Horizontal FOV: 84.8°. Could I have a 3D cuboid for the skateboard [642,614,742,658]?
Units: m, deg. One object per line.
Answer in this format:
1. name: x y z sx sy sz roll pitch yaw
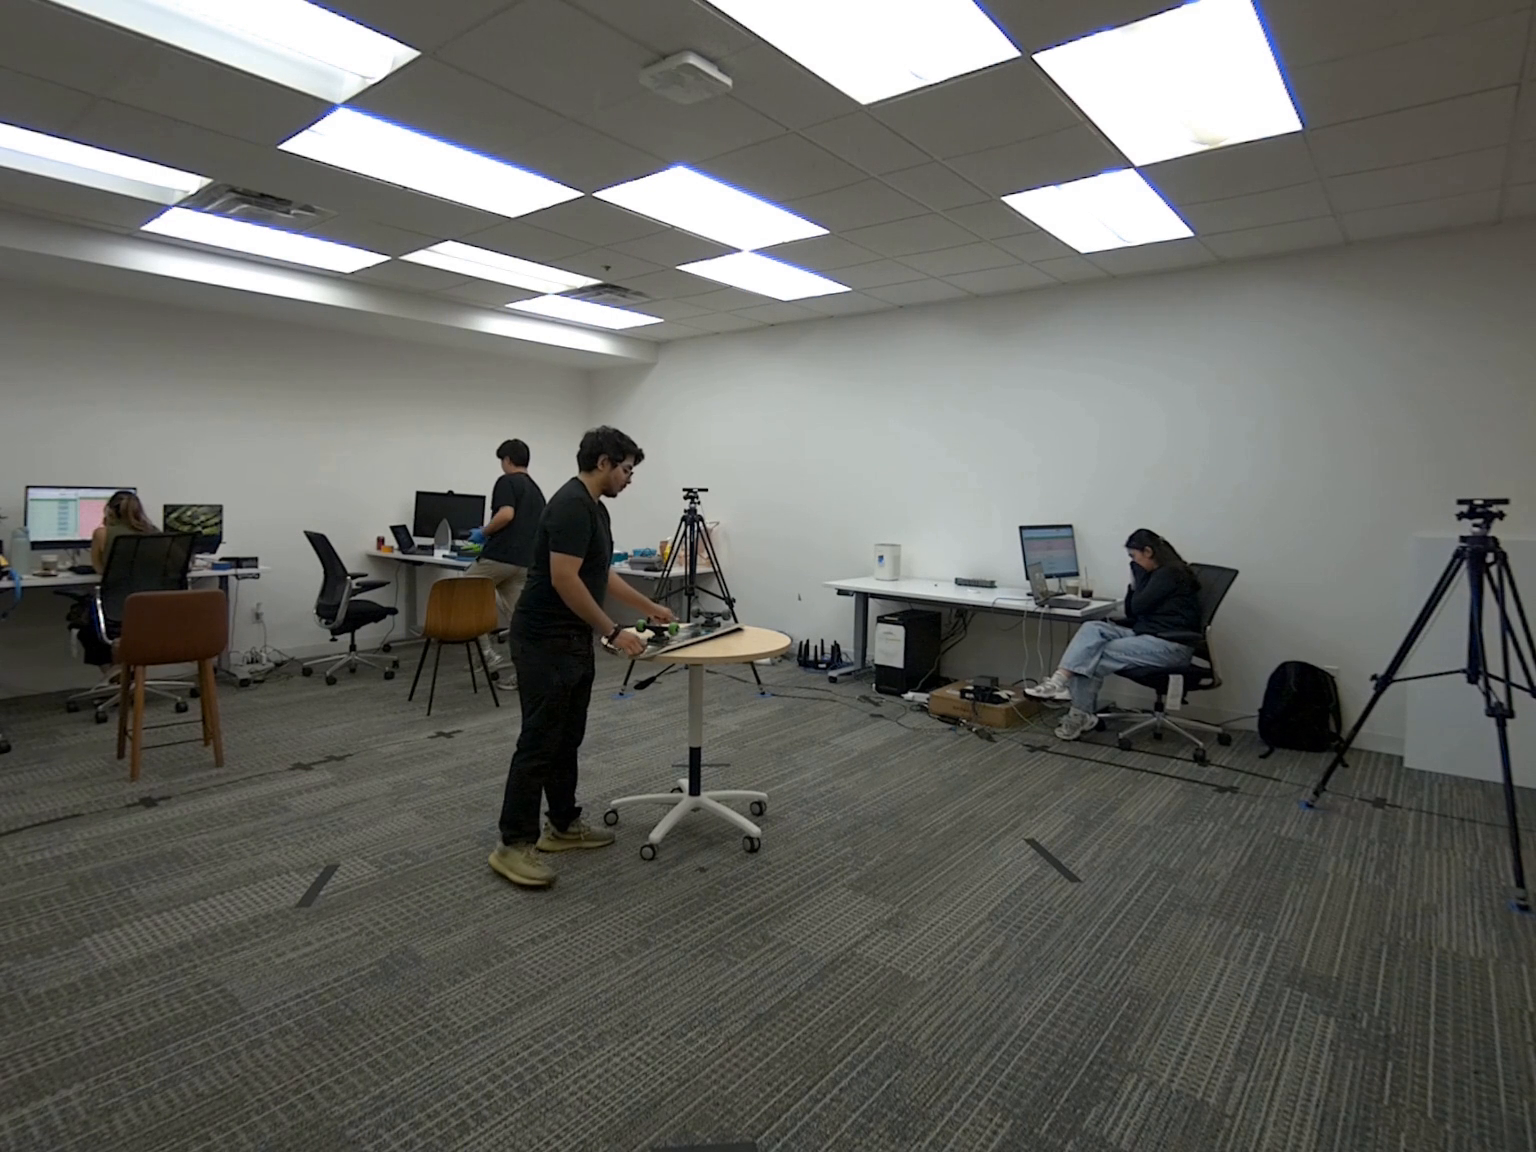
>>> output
1. skateboard: -0.342 0.211 3.419 0.199 0.110 0.766 5 7 29
